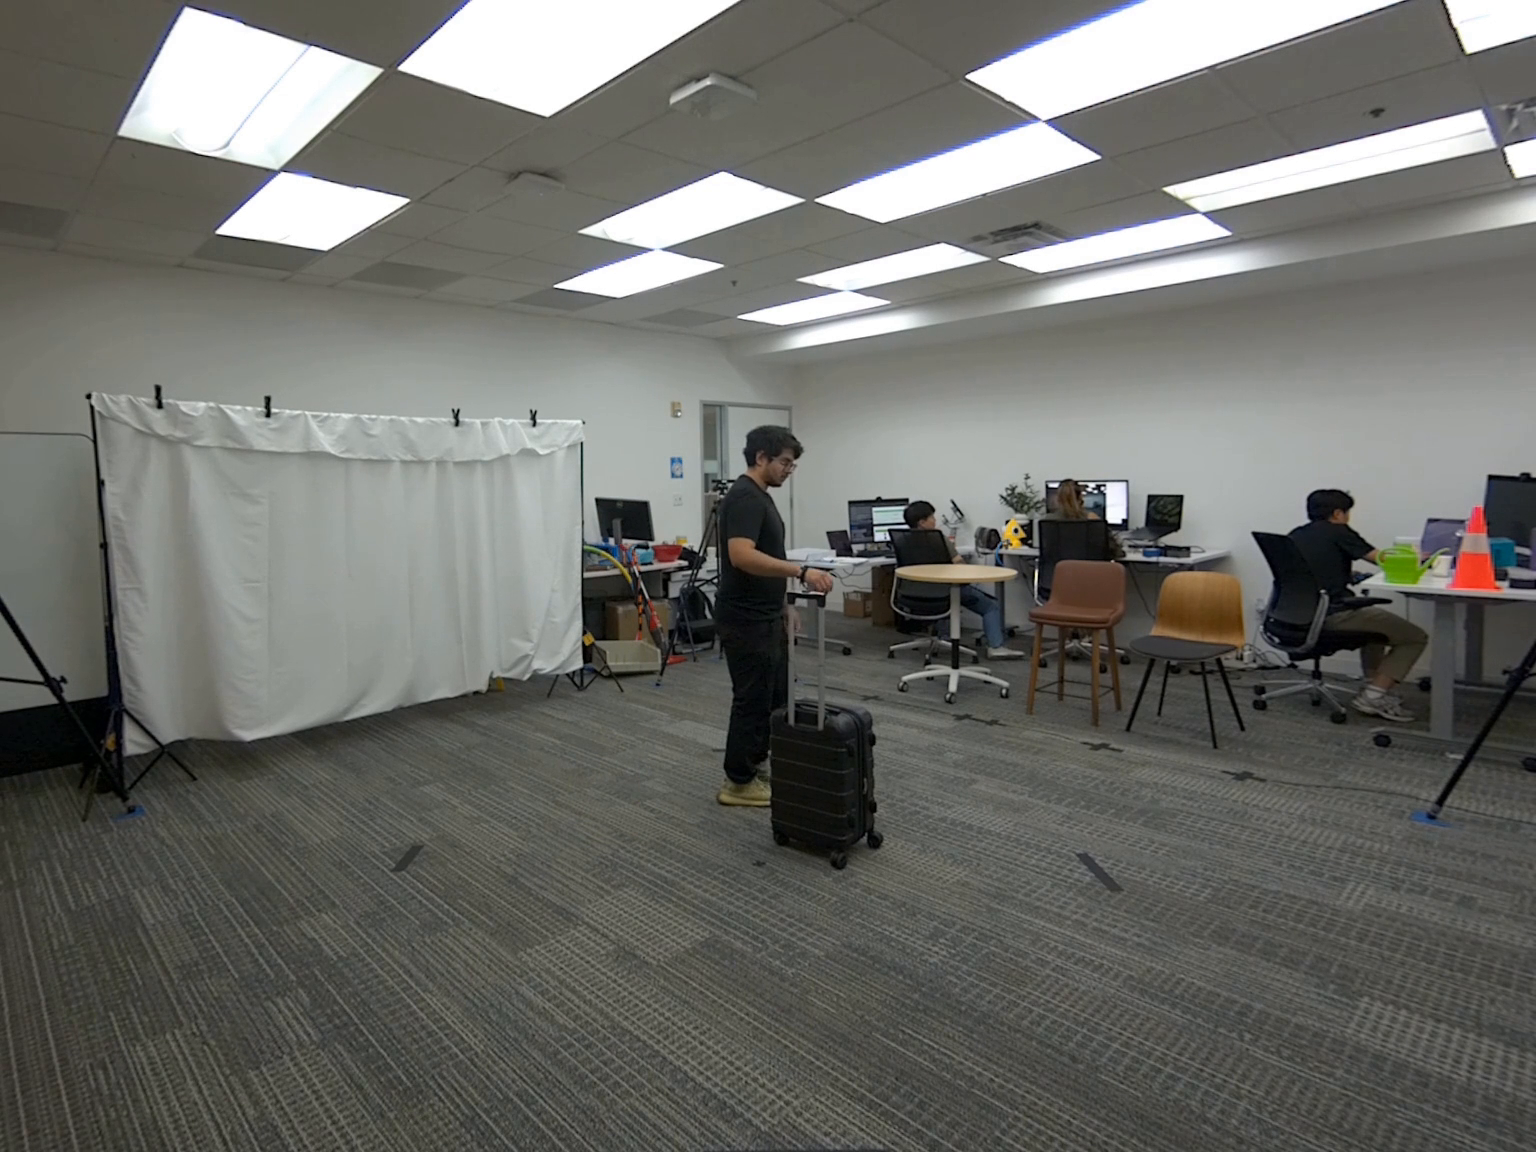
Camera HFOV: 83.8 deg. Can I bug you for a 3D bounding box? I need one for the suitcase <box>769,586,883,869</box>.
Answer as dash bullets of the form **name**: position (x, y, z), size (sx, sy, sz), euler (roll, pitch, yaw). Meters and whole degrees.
- **suitcase**: position (0.211, 0.553, 3.234), size (0.395, 0.977, 0.250), euler (1, 3, 37)
